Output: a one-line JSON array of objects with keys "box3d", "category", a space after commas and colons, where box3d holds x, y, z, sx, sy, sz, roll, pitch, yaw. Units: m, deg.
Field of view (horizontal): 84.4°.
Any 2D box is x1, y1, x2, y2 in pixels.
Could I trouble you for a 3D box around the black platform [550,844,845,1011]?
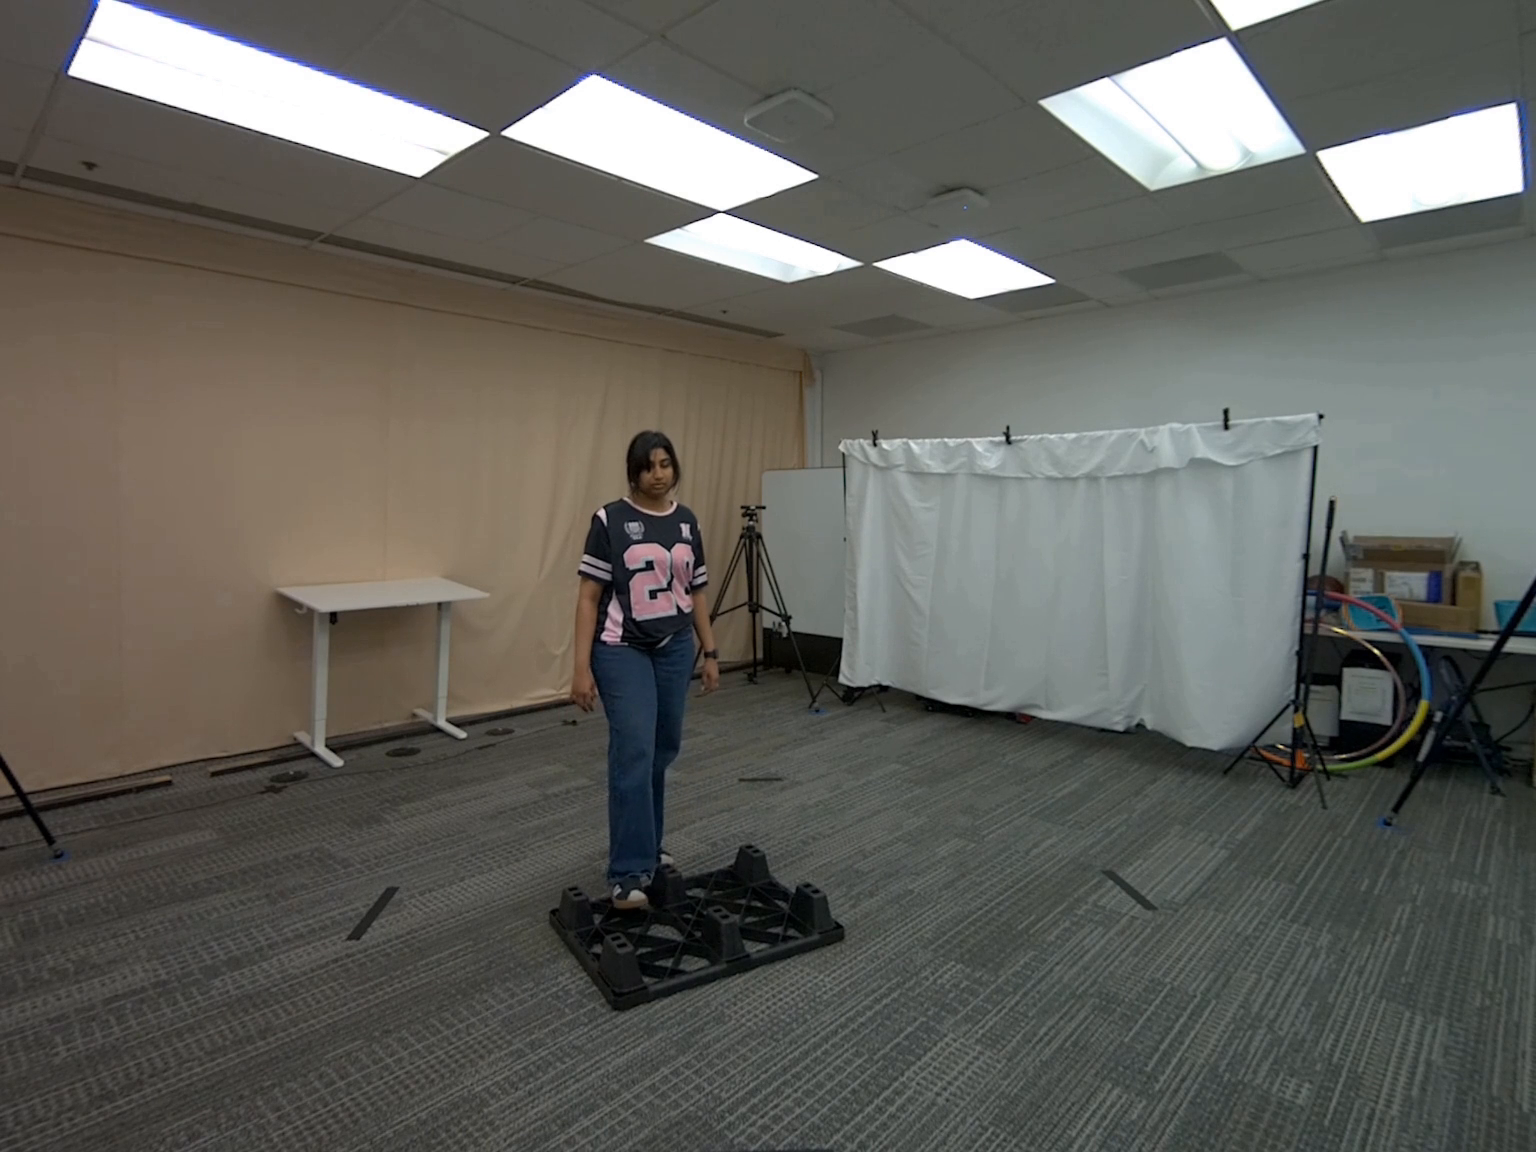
[{"box3d": [-0.237, 1.098, 2.766, 0.784, 0.143, 0.623, -3, 6, -31], "category": "black platform"}]
